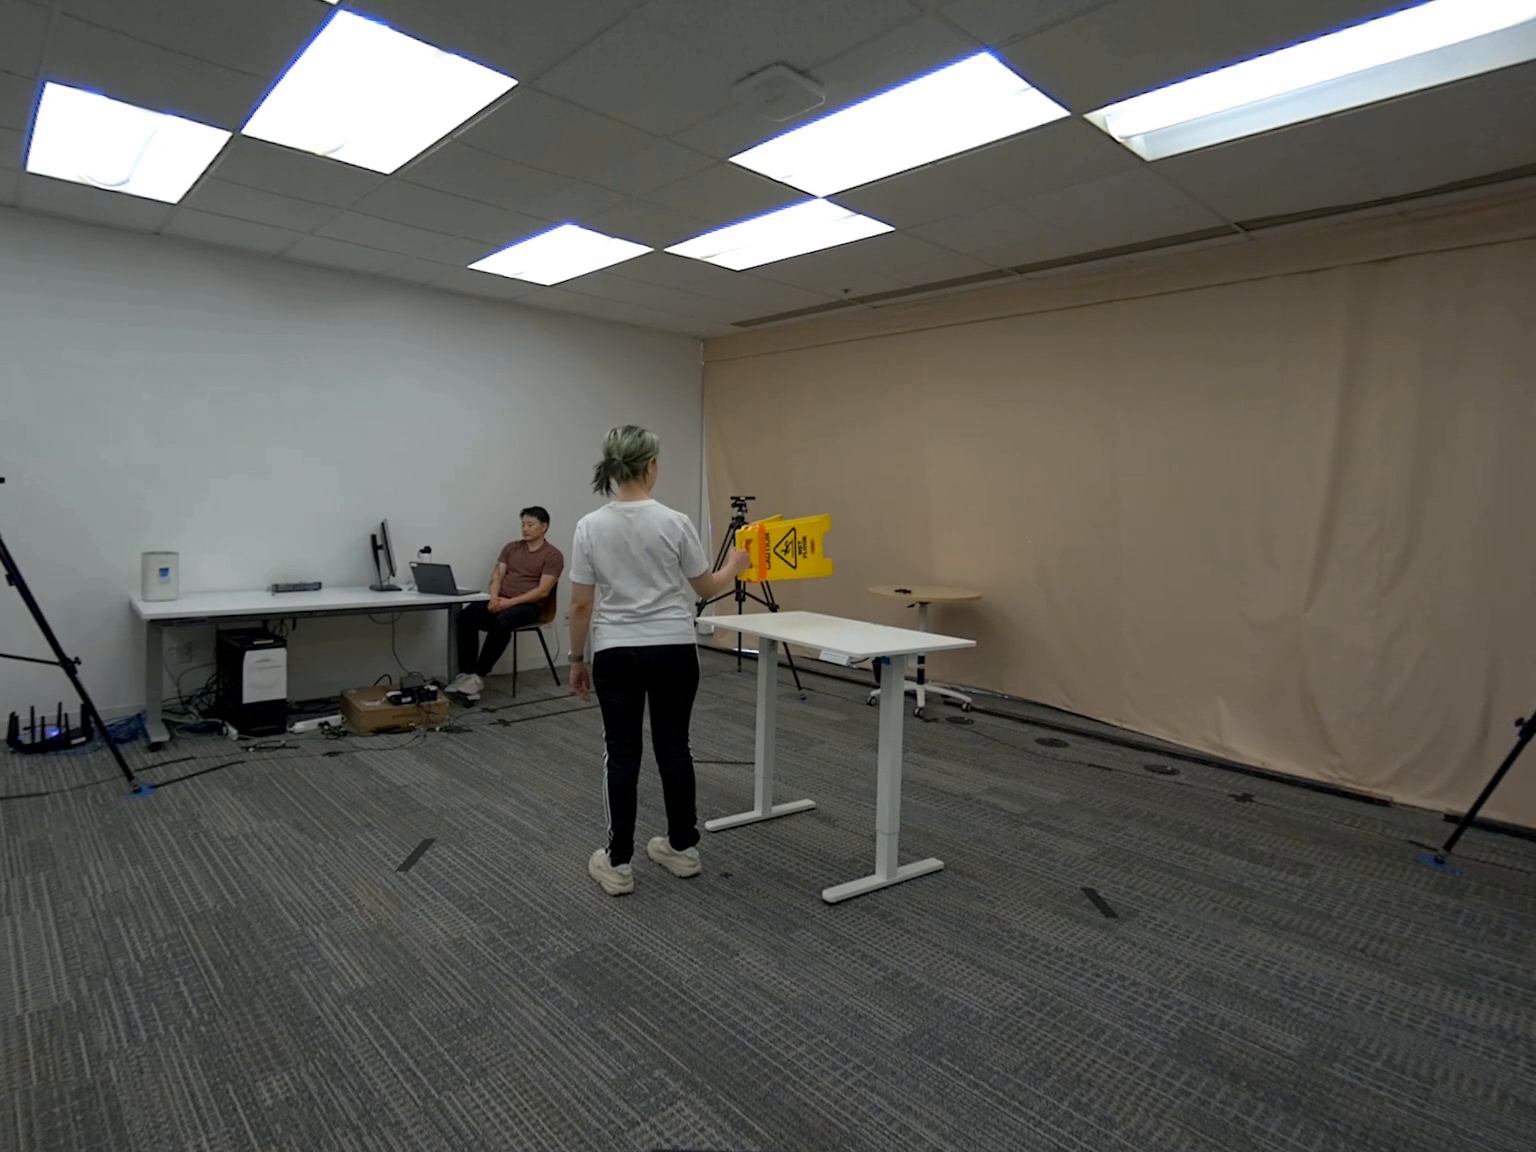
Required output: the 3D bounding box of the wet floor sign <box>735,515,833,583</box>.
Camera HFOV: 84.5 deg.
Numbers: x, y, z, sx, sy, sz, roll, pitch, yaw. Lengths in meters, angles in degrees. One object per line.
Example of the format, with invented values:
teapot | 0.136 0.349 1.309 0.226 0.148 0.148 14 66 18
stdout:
wet floor sign | 0.018 -0.108 3.597 0.295 0.281 0.635 0 6 27
